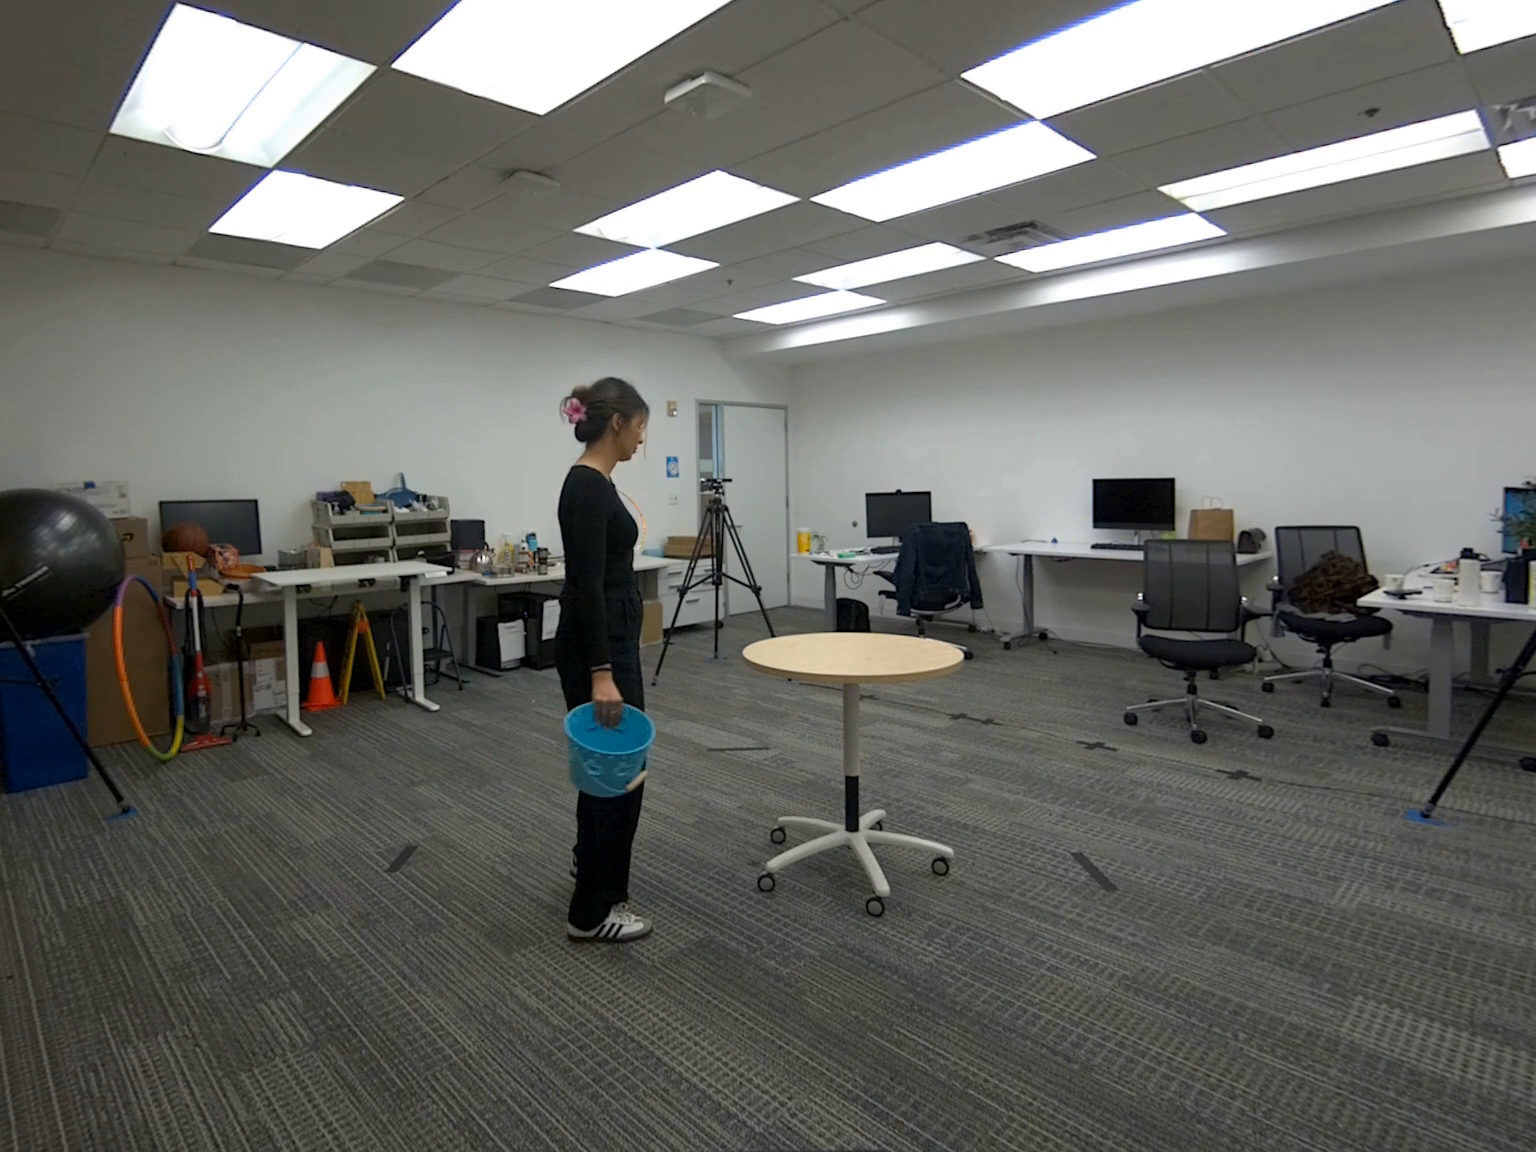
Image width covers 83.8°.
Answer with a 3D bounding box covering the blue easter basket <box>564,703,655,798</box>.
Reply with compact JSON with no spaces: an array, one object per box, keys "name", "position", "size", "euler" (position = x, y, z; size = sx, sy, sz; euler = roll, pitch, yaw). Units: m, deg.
[{"name":"blue easter basket","position":[-0.421,0.452,2.244],"size":[0.243,0.153,0.248],"euler":[6,21,-4]}]
